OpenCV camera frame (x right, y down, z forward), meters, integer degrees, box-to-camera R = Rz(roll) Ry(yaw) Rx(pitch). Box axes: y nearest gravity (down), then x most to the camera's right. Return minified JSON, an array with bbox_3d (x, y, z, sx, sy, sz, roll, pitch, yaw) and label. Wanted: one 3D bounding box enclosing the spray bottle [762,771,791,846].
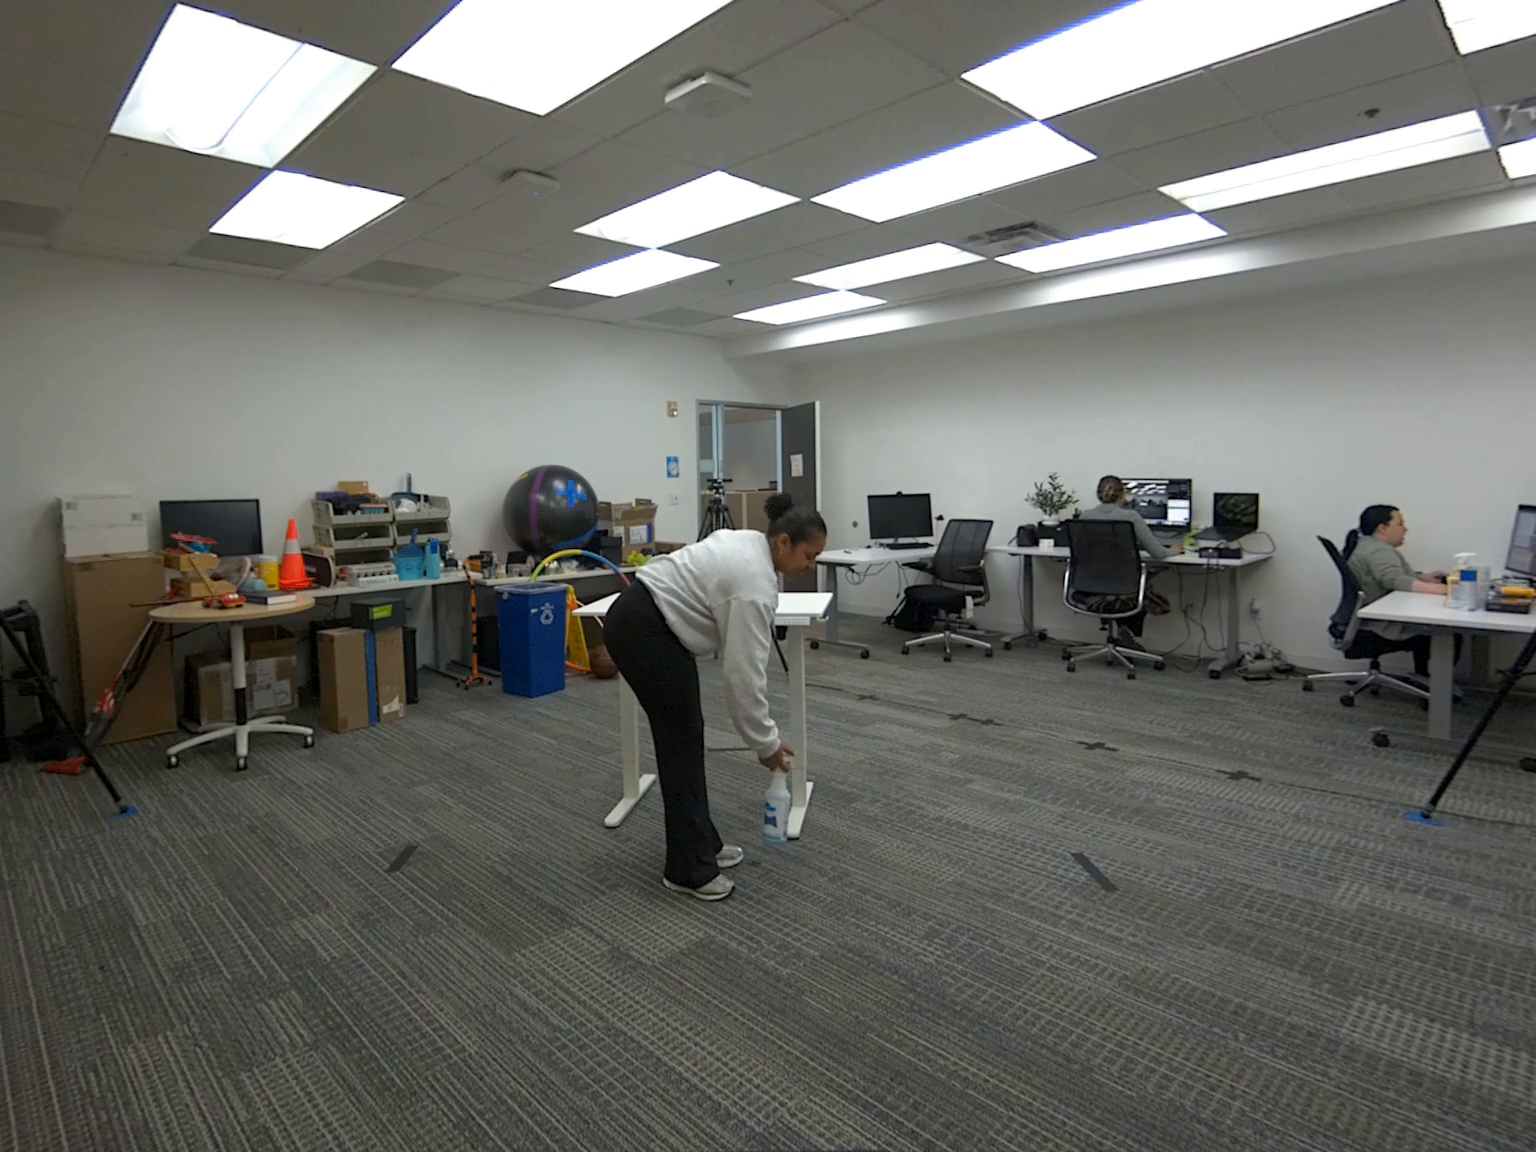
[{"bbox_3d":[0.031,0.727,2.853,0.091,0.298,0.086,6,-3,9],"label":"spray bottle"}]
